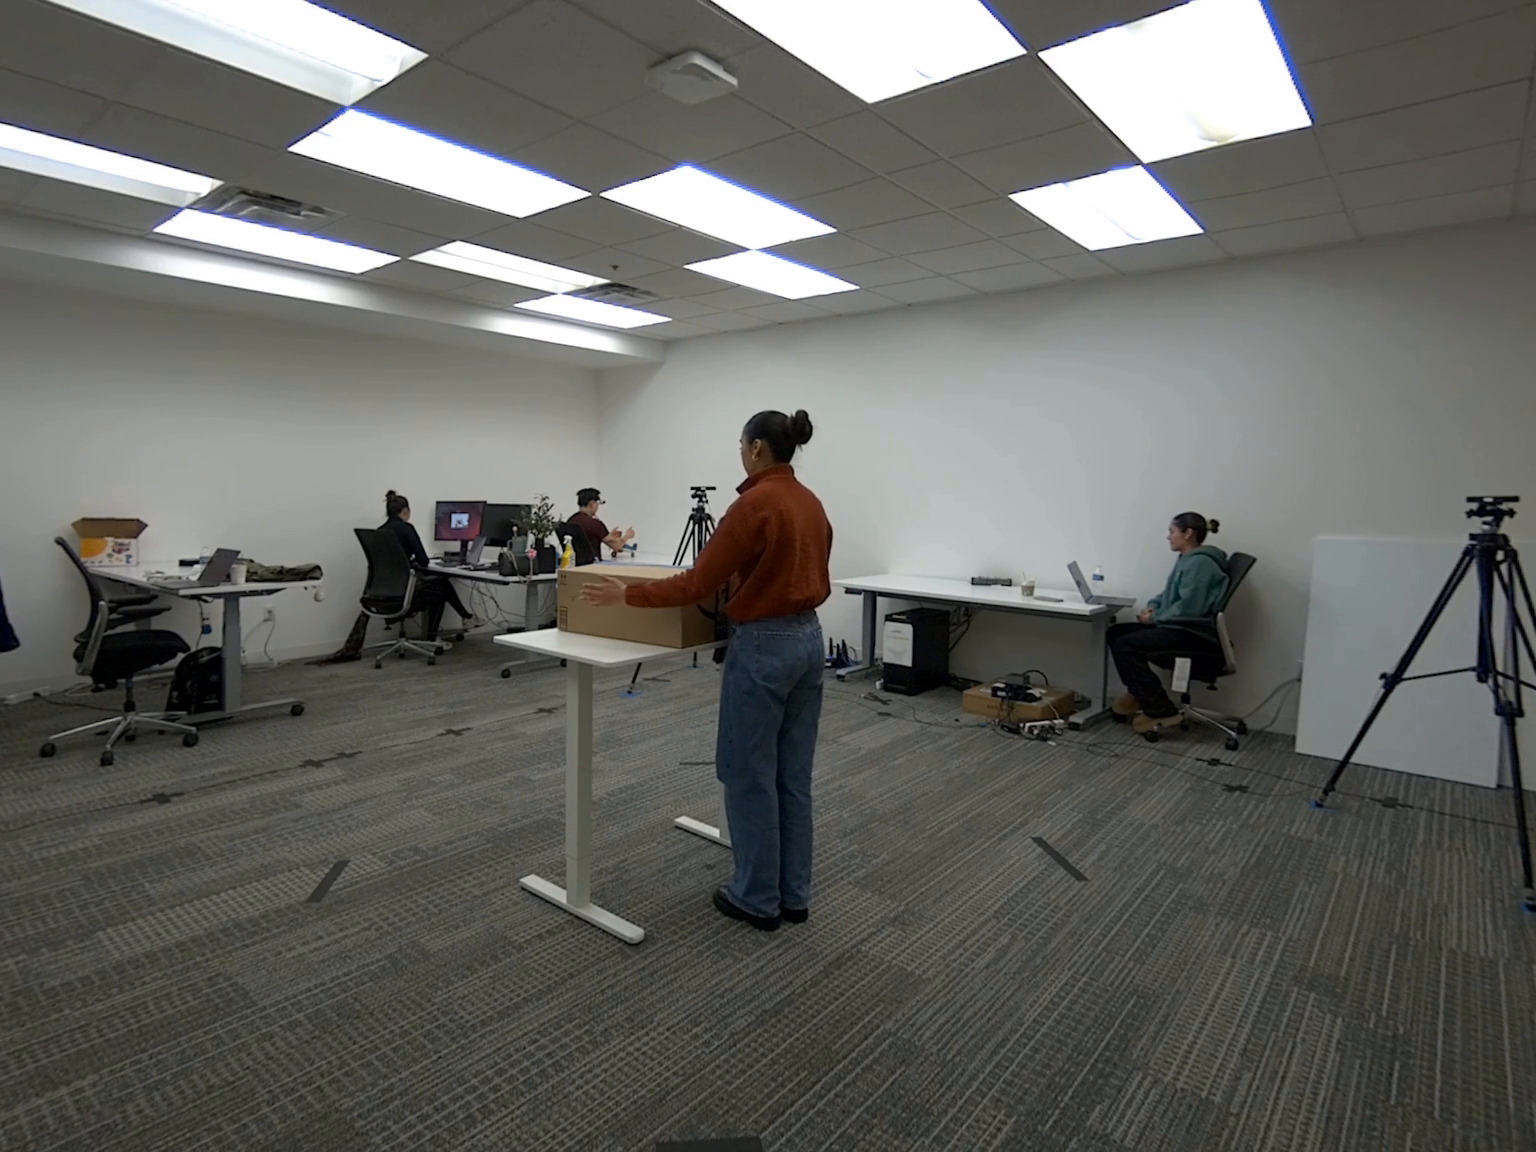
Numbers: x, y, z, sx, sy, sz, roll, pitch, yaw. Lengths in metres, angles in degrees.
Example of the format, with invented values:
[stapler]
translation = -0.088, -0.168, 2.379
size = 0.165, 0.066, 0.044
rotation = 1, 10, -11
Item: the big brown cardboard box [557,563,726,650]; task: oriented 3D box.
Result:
[big brown cardboard box]
translation = -0.397, 0.085, 2.973
size = 0.608, 0.232, 0.406
rotation = 4, 6, 35
